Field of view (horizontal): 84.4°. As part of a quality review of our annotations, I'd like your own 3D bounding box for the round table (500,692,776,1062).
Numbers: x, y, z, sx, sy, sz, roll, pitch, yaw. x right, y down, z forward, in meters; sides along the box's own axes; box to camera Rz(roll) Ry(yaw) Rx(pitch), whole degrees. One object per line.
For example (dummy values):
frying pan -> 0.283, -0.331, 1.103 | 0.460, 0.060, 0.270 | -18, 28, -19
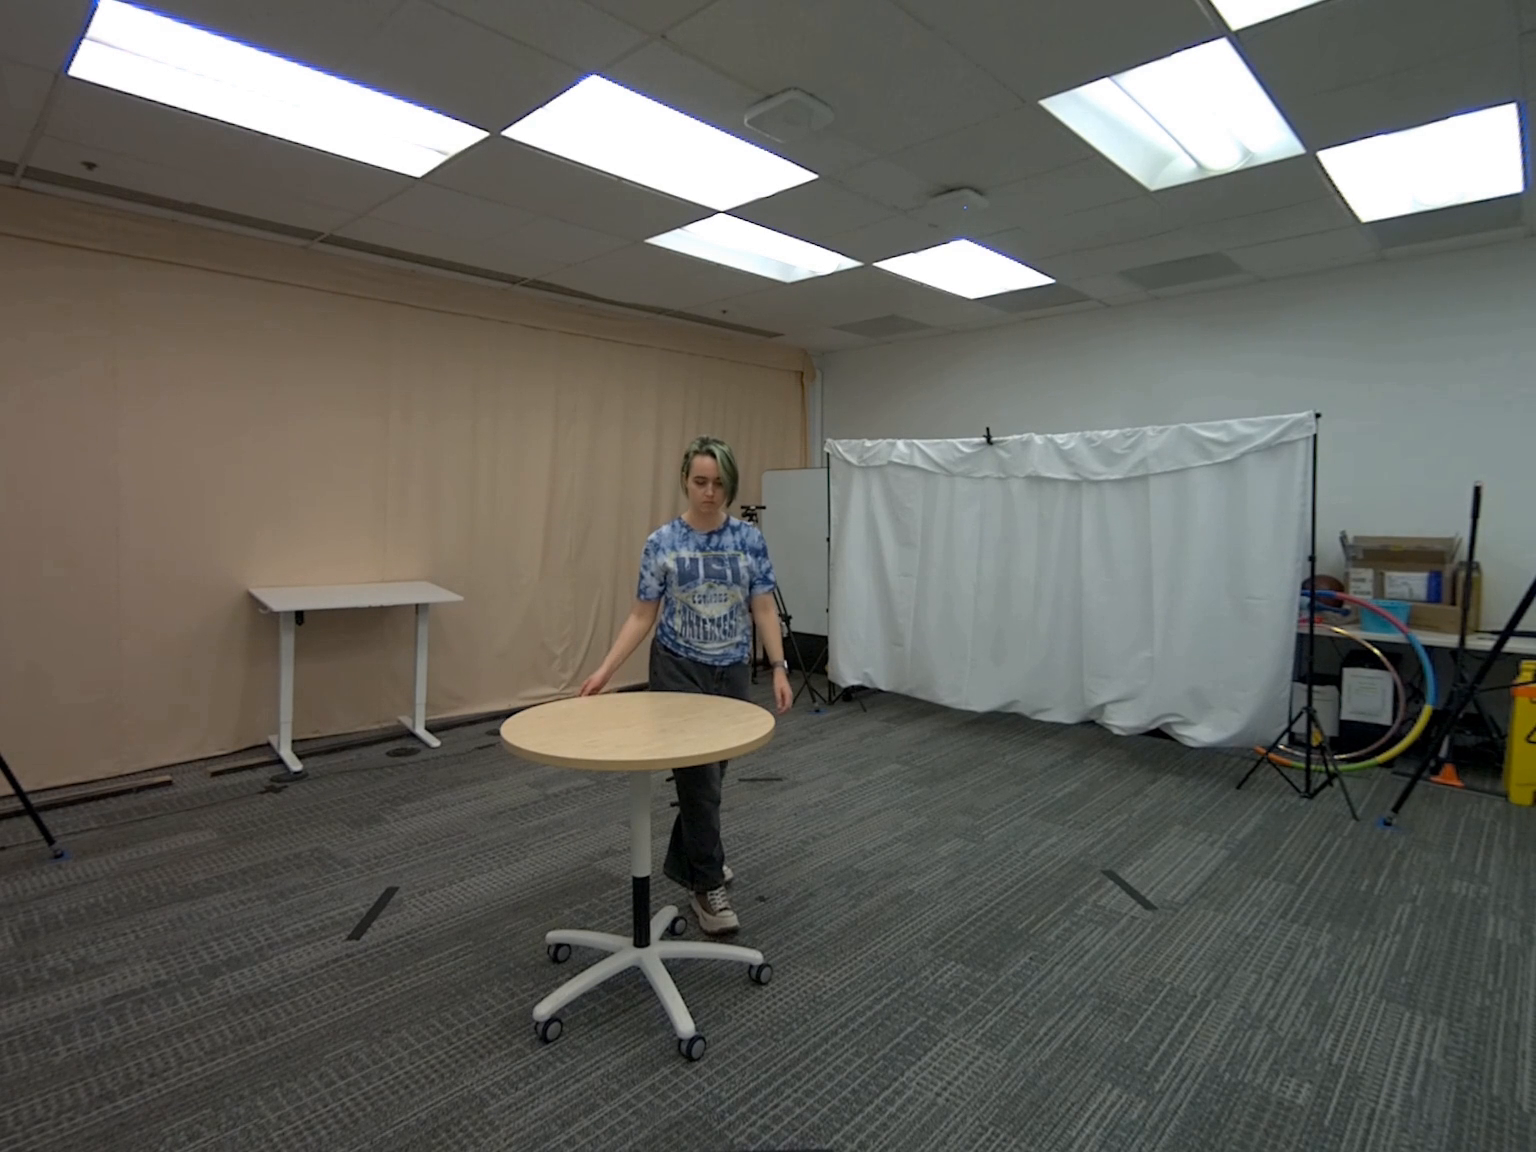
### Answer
round table -> -0.361, 0.806, 2.394 | 0.763, 0.792, 0.766 | -1, 4, -2
